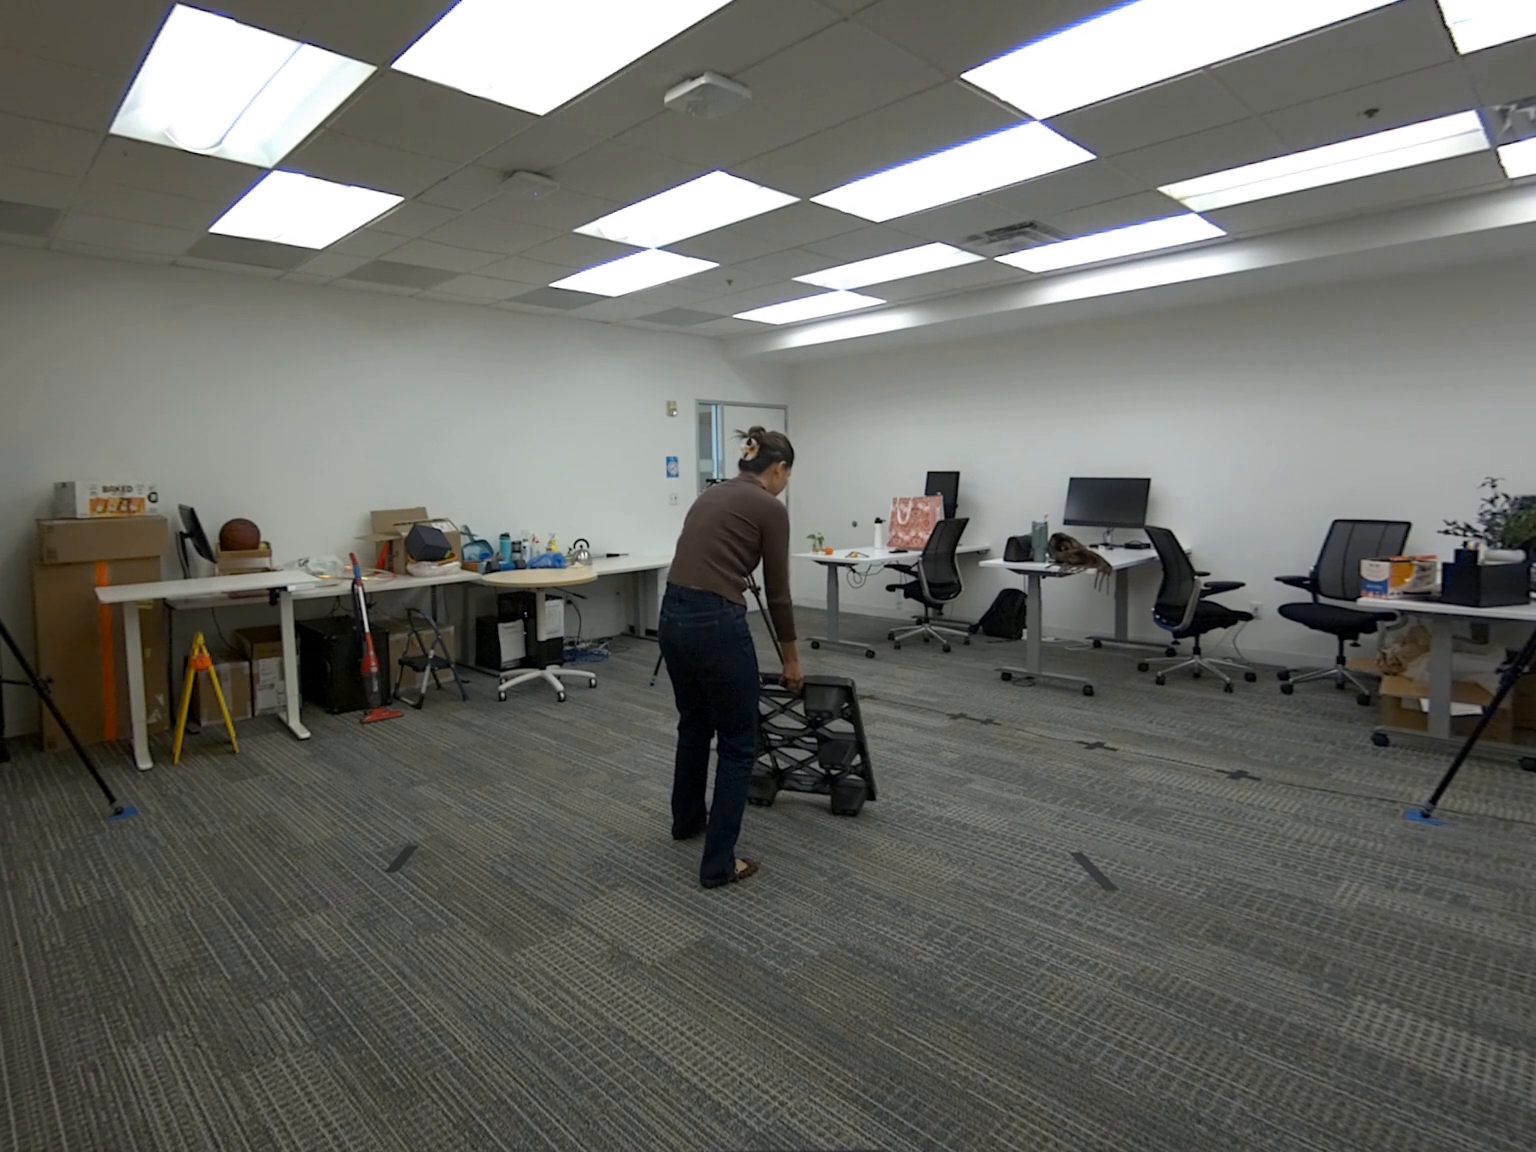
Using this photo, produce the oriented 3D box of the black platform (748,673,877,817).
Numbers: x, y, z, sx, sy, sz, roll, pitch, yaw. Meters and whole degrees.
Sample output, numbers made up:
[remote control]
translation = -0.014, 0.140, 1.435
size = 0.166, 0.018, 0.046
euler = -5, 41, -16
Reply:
[black platform]
translation = 0.086, 0.684, 3.406
size = 0.616, 0.779, 0.145
euler = 1, 44, 18
